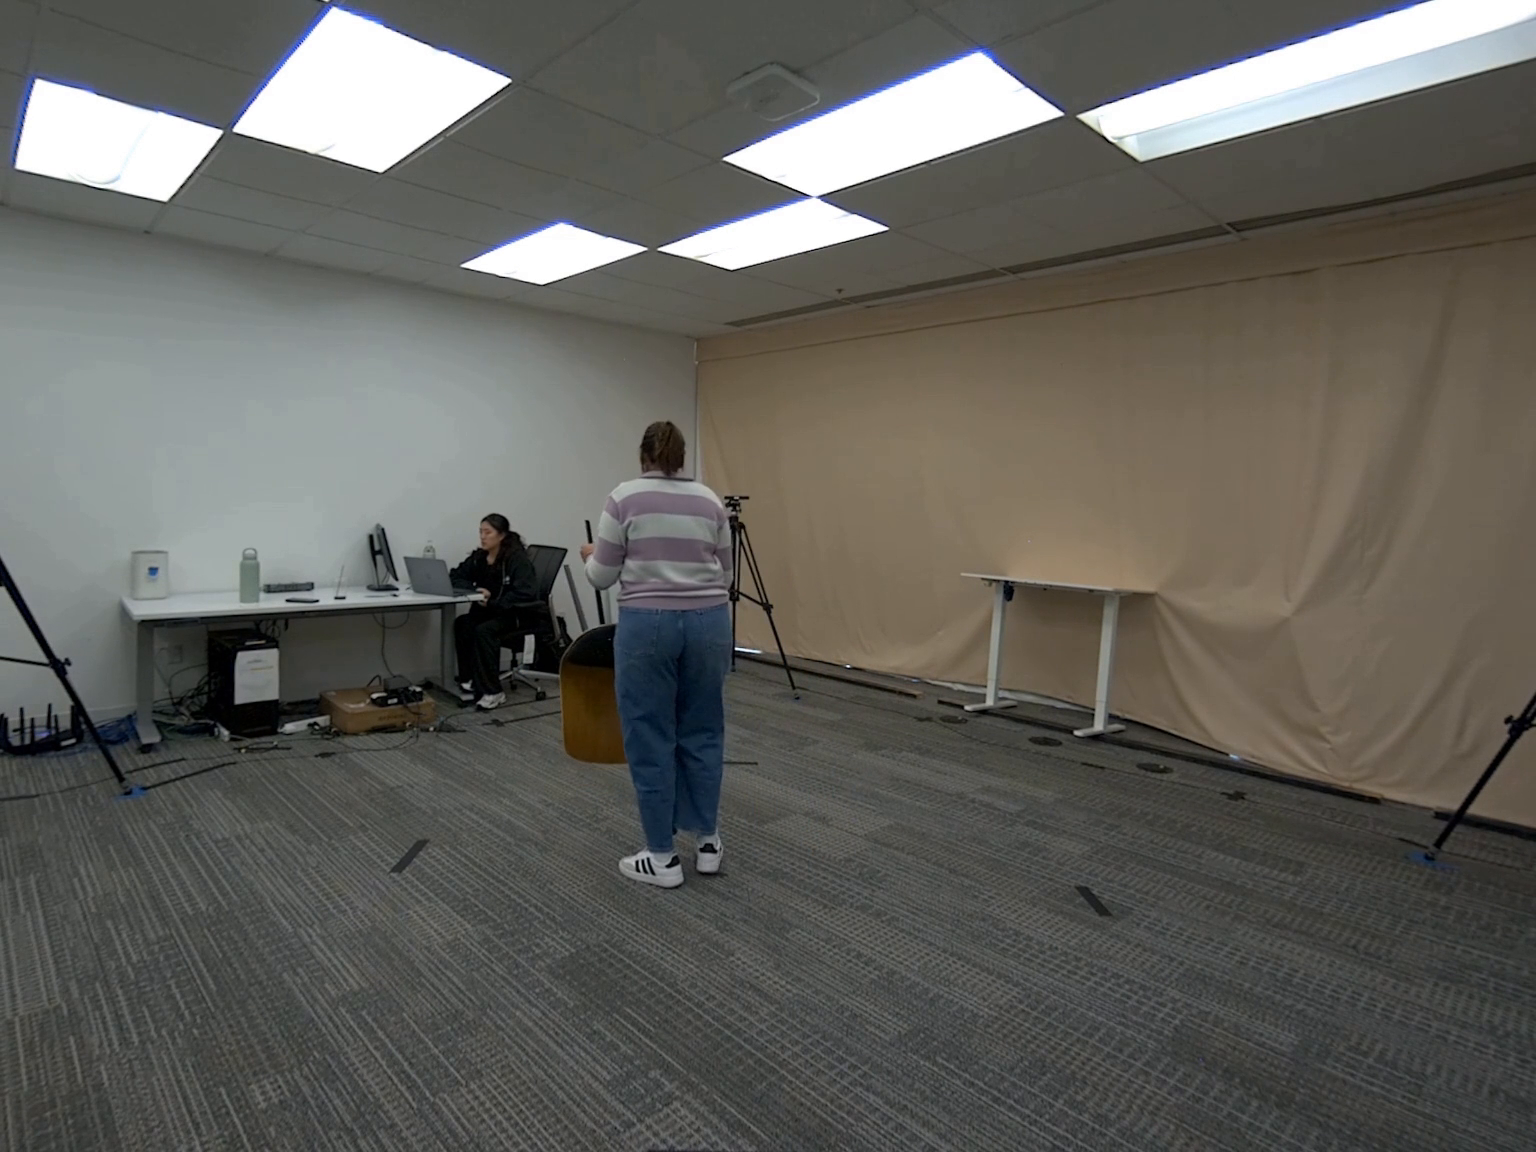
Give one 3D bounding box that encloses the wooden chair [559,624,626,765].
[{"bbox_3d":[-0.576,0.283,3.389,0.470,0.891,0.524,8,-23,-22],"label":"wooden chair"}]
